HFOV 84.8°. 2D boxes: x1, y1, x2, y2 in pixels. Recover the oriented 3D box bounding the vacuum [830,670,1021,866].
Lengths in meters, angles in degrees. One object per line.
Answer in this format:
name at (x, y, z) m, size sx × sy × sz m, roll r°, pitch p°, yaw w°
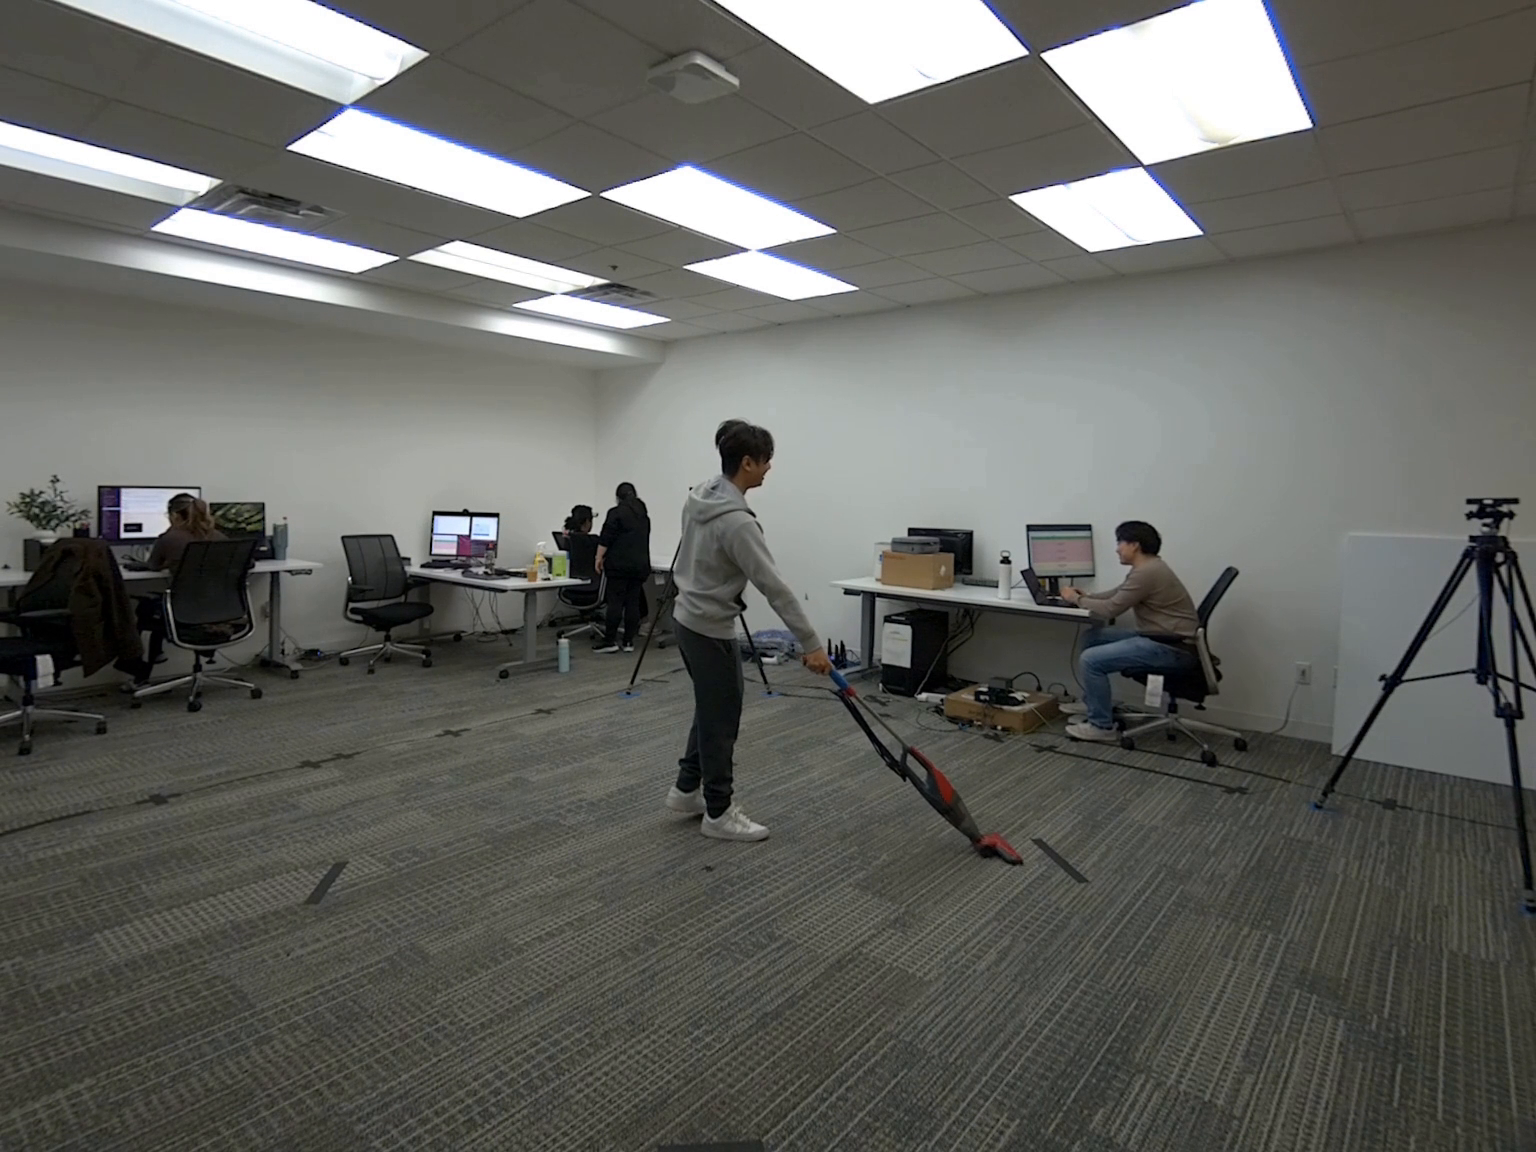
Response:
vacuum at (0.493, 0.692, 3.282) m, size 1.041 × 0.144 × 0.254 m, roll 44°, pitch 0°, yaw -5°
